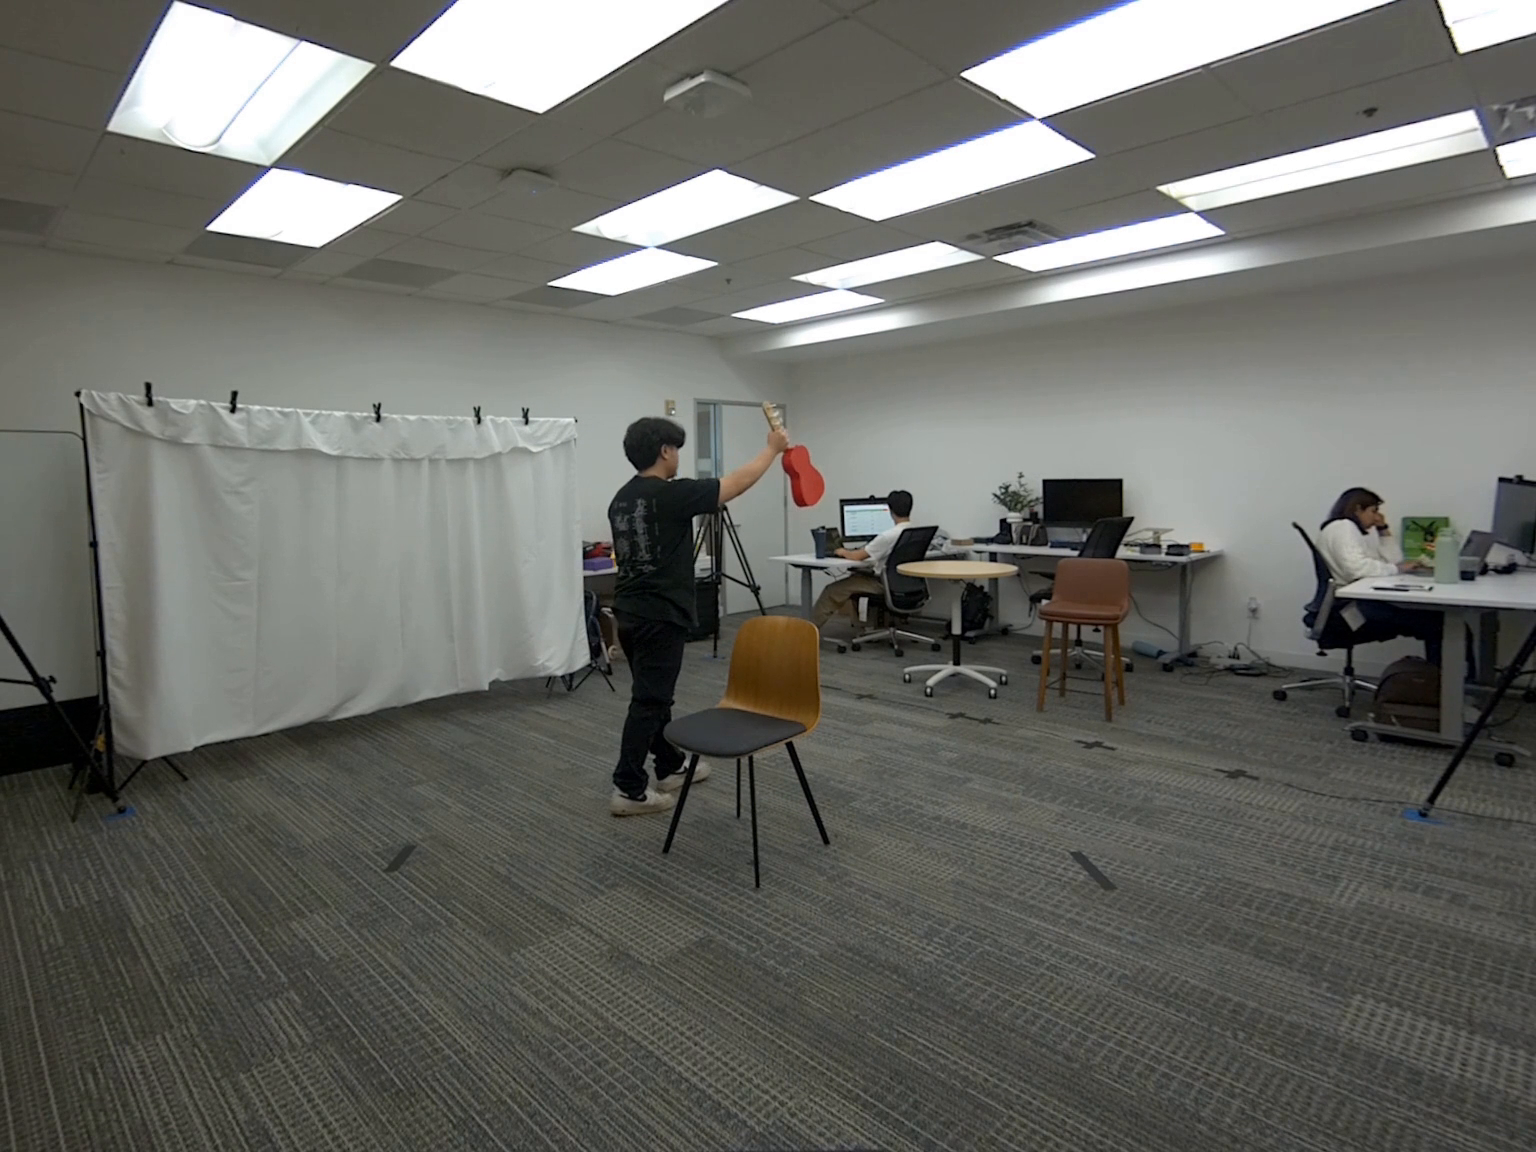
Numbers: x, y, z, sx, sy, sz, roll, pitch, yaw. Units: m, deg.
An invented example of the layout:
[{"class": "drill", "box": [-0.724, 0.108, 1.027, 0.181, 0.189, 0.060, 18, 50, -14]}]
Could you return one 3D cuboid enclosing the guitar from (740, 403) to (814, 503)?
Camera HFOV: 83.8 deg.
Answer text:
[{"class": "guitar", "box": [0.091, -0.520, 3.738, 0.072, 0.483, 0.195, -12, 32, 33]}]
